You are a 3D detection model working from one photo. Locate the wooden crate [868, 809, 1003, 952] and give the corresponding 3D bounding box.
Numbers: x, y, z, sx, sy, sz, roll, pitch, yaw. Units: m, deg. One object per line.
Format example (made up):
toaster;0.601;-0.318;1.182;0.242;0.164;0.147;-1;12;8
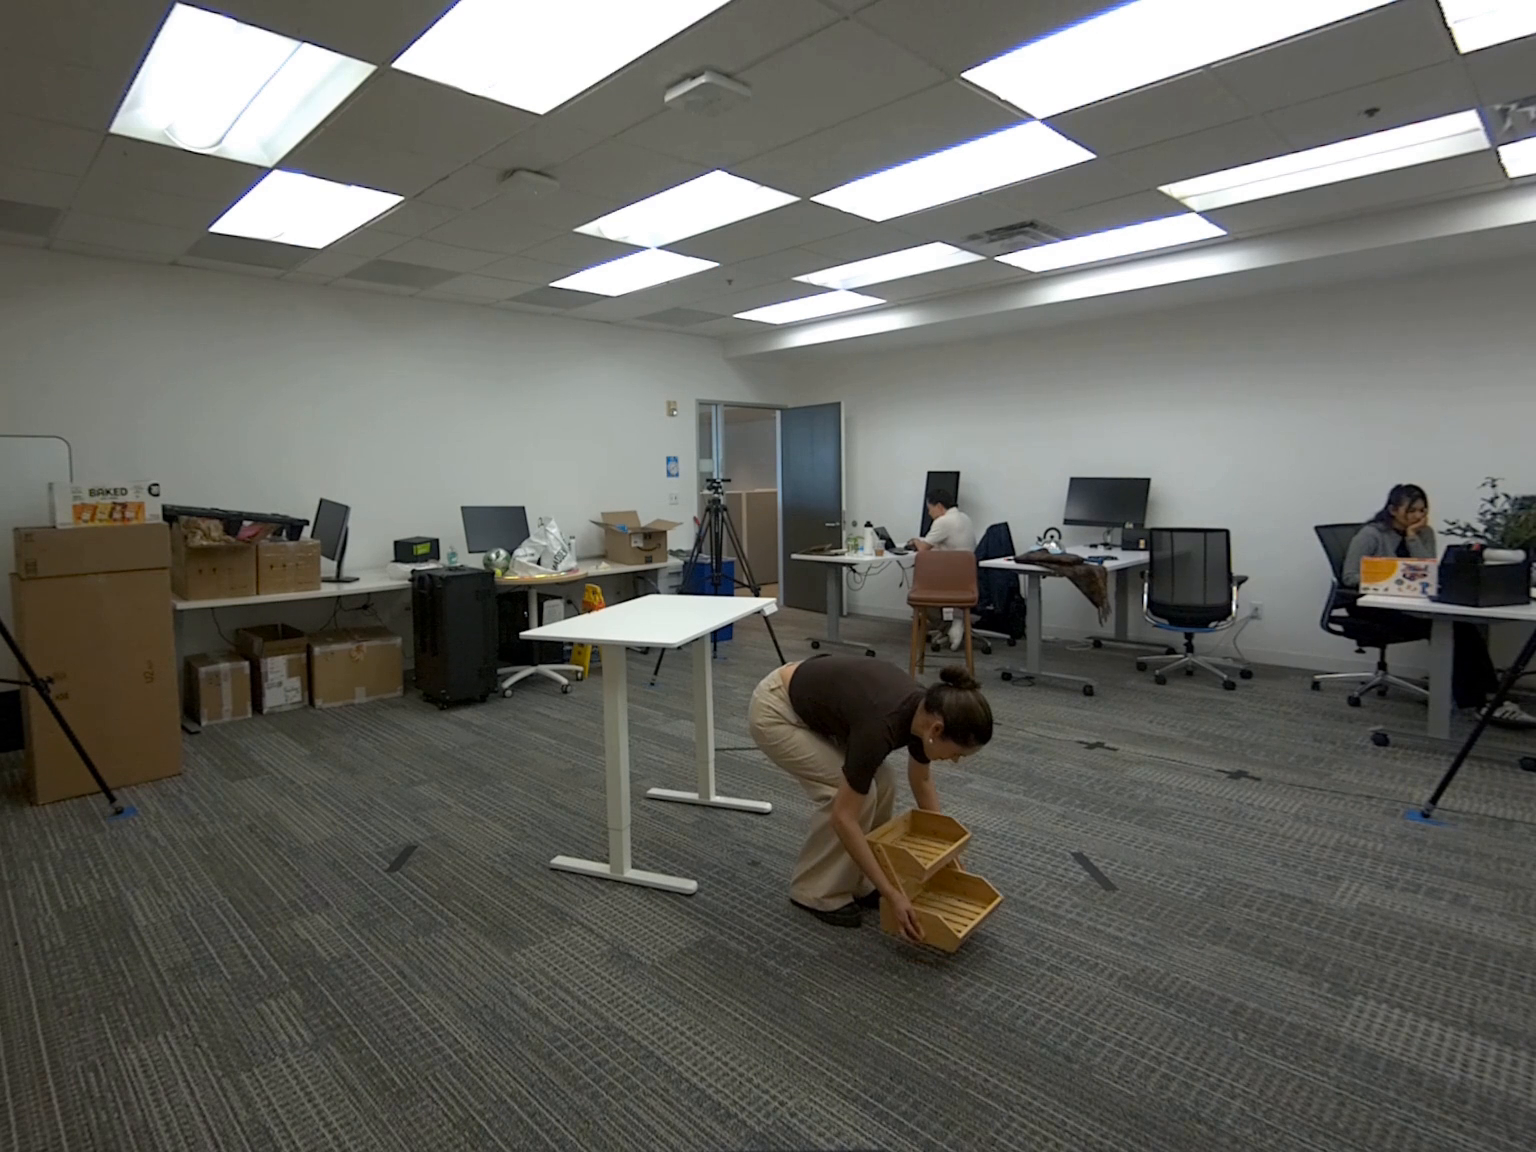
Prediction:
wooden crate;0.505;0.892;2.548;0.310;0.272;0.316;-2;4;38
